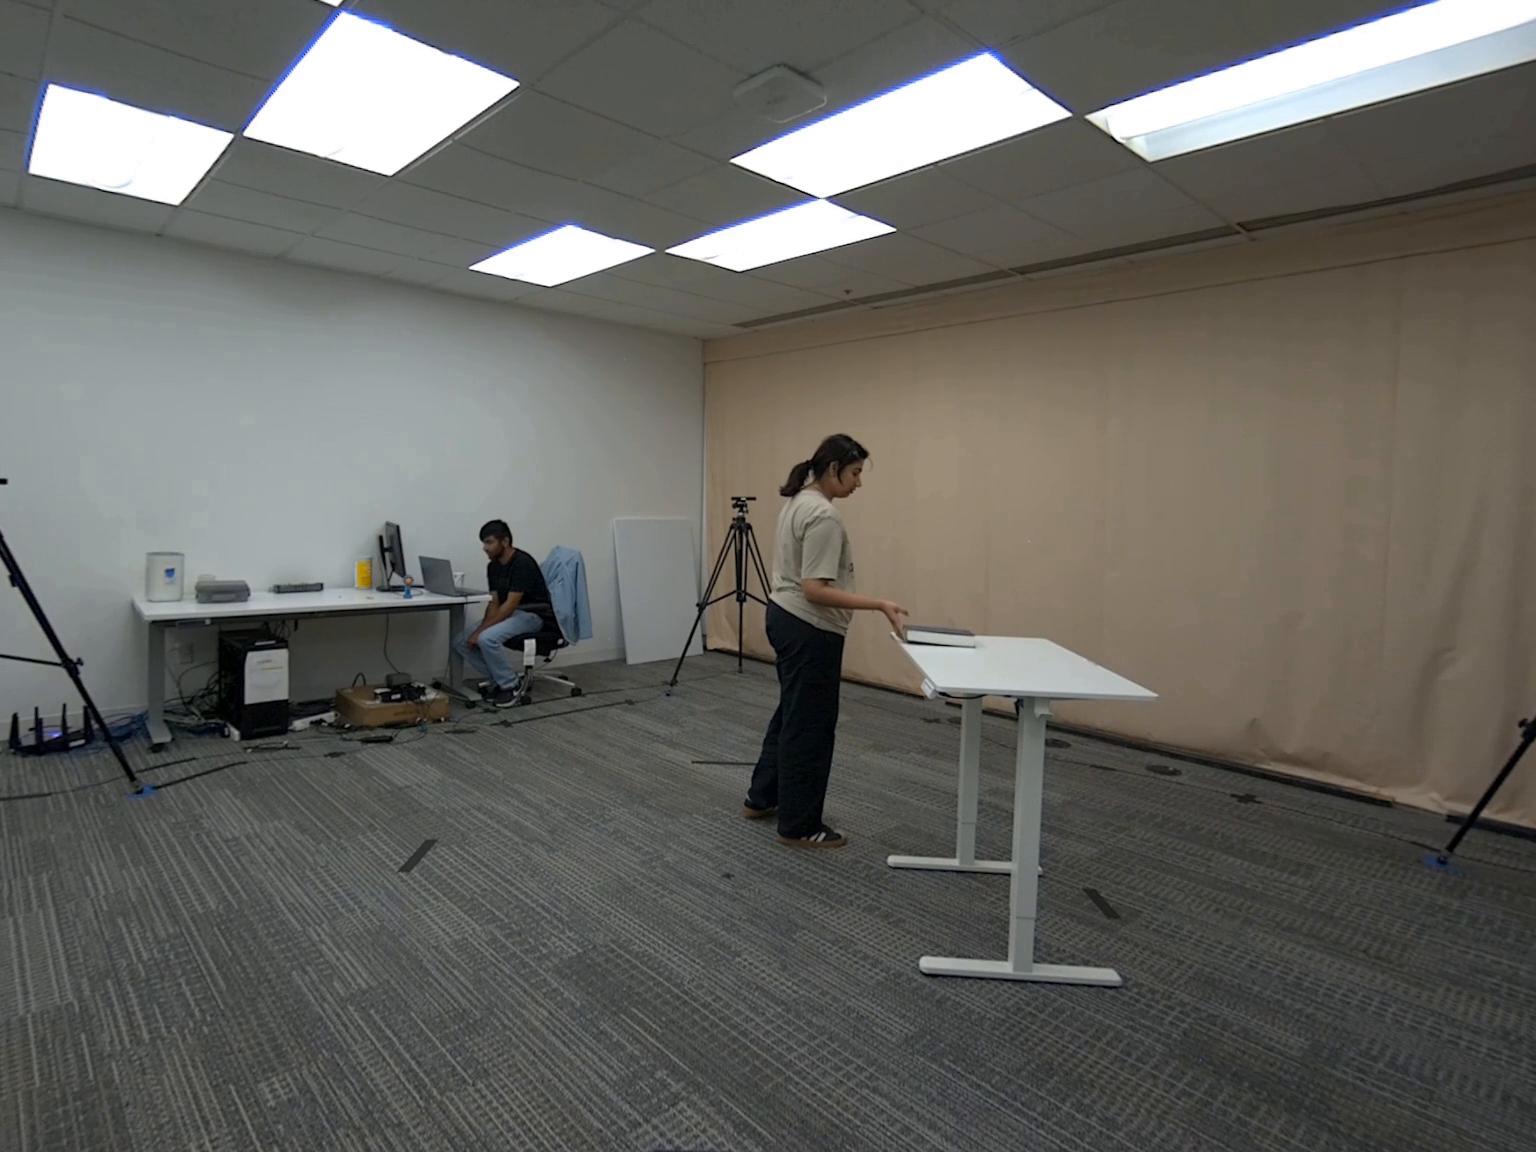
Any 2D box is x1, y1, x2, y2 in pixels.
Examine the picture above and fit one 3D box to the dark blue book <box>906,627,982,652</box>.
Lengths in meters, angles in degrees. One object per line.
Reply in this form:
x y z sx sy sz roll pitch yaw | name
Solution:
0.637 0.230 3.095 0.246 0.045 0.163 3 5 6 | dark blue book
